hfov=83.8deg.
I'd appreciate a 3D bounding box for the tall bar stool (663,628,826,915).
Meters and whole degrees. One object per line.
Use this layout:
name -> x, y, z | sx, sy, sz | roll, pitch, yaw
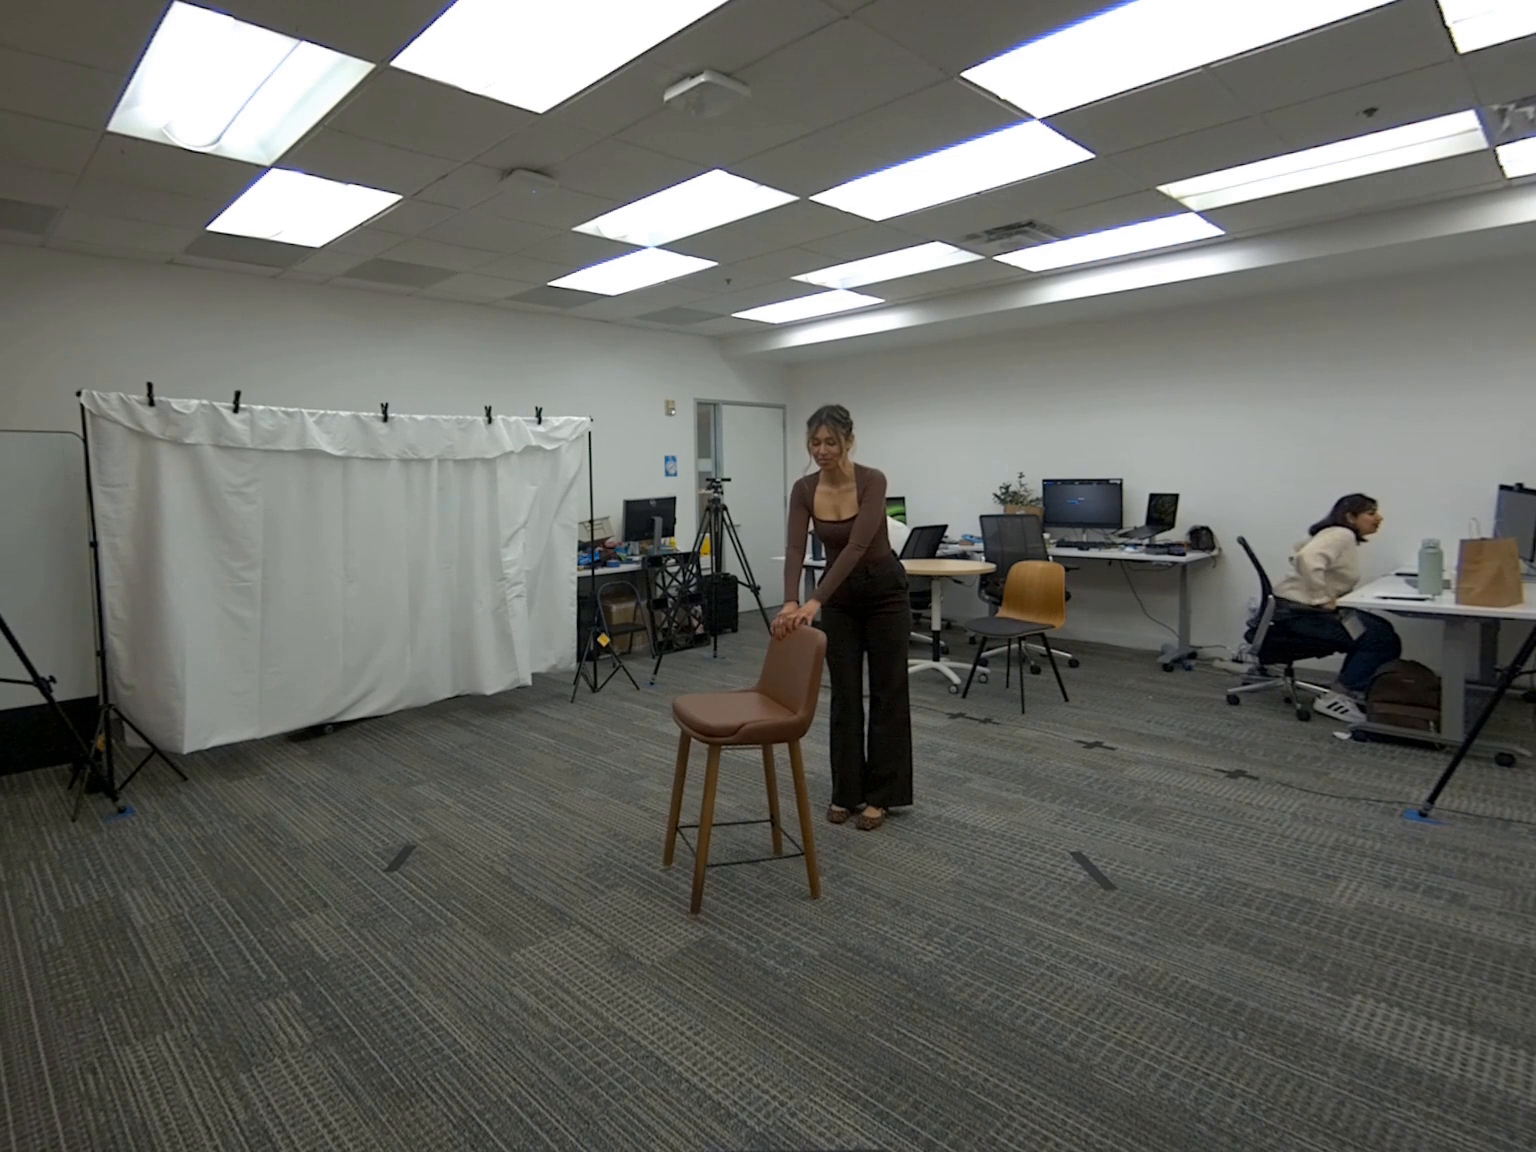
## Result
tall bar stool -> -0.080, 0.618, 2.933 | 0.459, 0.888, 0.466 | 2, 2, -20
